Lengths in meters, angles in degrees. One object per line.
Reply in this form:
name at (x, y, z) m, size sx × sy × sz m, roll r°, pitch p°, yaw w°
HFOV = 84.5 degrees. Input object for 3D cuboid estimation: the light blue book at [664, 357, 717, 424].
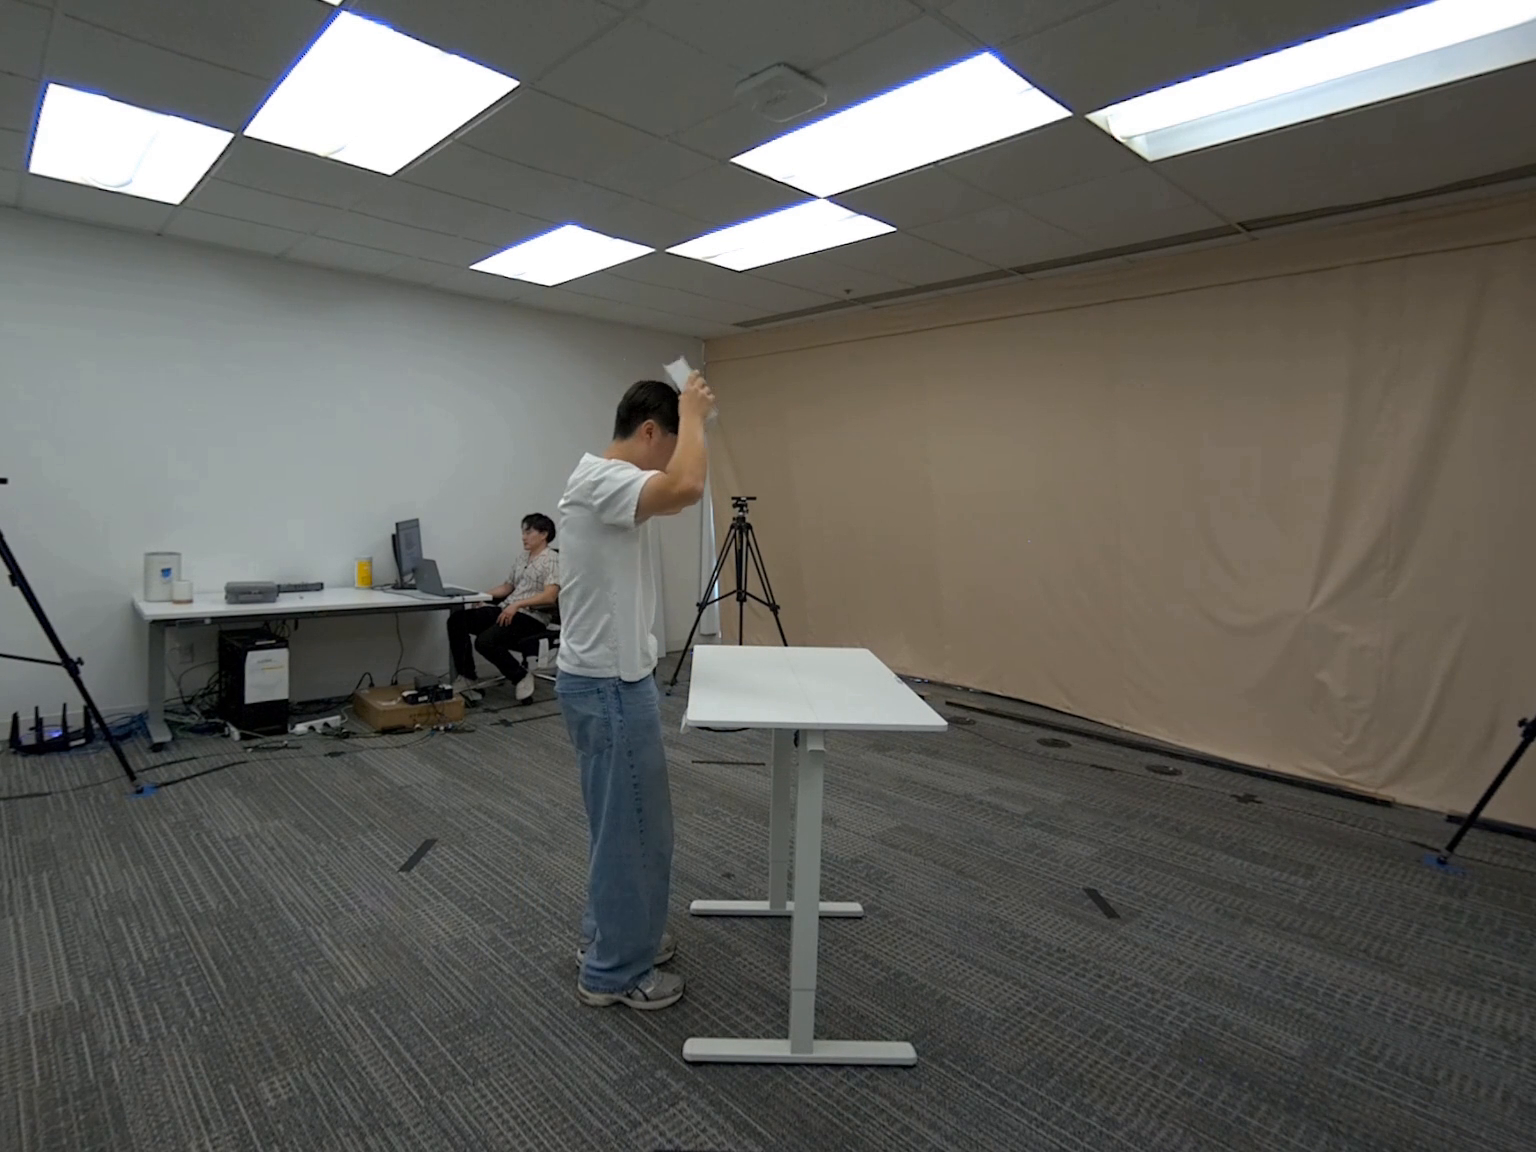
light blue book at (-0.227, -0.496, 2.387) m, size 0.059 × 0.191 × 0.262 m, roll -32°, pitch 3°, yaw 1°
